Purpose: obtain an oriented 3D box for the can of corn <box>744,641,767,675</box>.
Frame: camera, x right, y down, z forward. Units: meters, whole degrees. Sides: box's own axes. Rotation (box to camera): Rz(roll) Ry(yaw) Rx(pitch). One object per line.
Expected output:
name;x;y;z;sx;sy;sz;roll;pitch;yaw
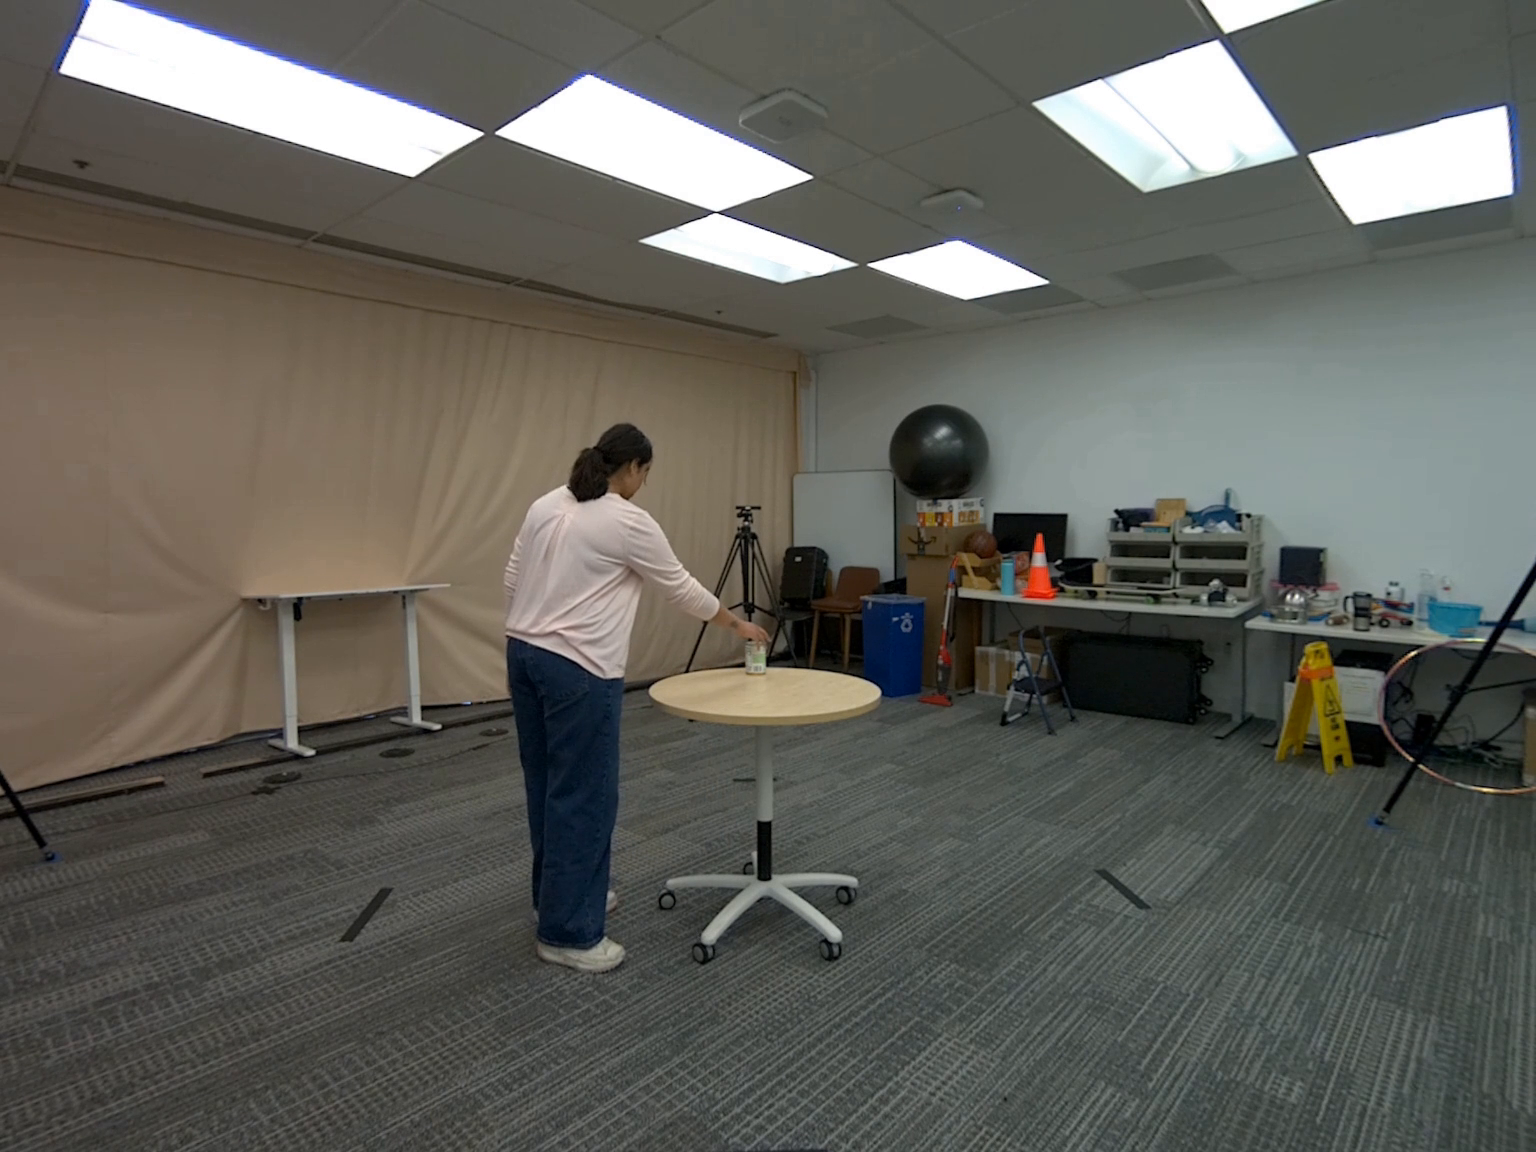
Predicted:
can of corn;-0.041;0.302;3.060;0.074;0.111;0.074;-2;4;-2
